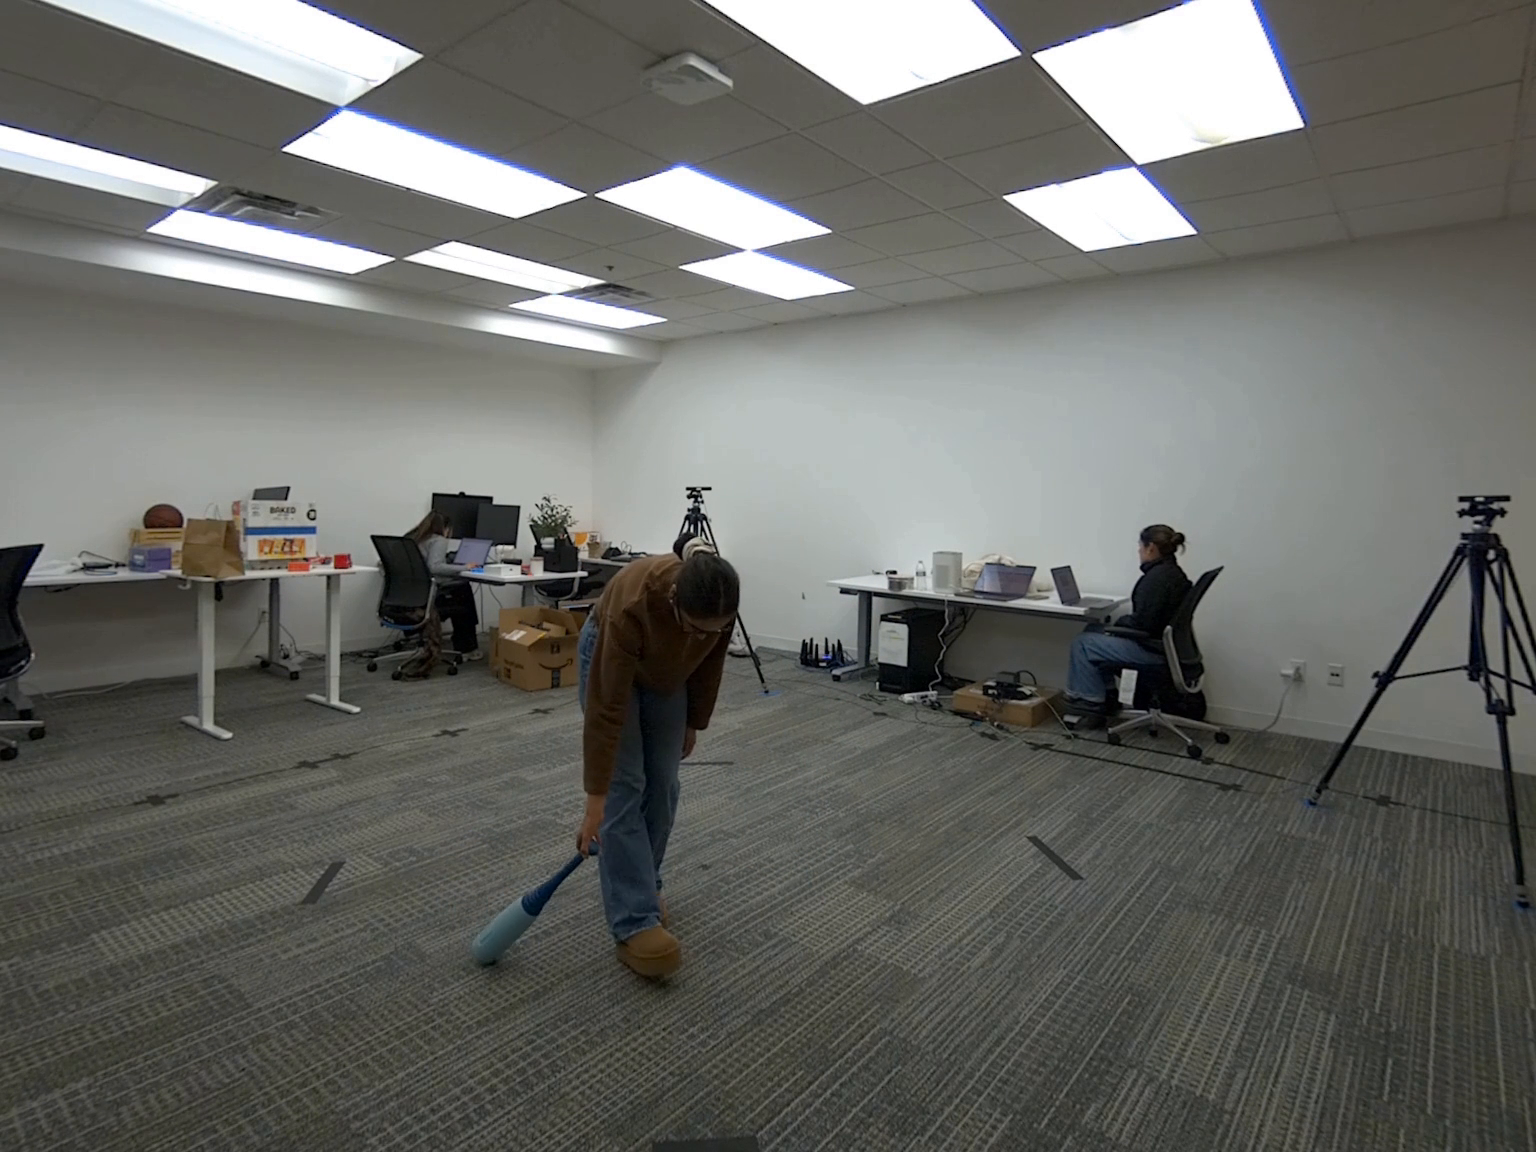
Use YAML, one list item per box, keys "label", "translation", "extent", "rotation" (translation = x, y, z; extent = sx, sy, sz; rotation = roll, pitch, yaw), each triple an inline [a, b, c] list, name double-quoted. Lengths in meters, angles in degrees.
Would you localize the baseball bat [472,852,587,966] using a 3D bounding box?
- label: "baseball bat"
  translation: [-0.668, 0.922, 2.399]
  extent: [0.087, 0.543, 0.091]
  rotation: [38, 20, -19]
